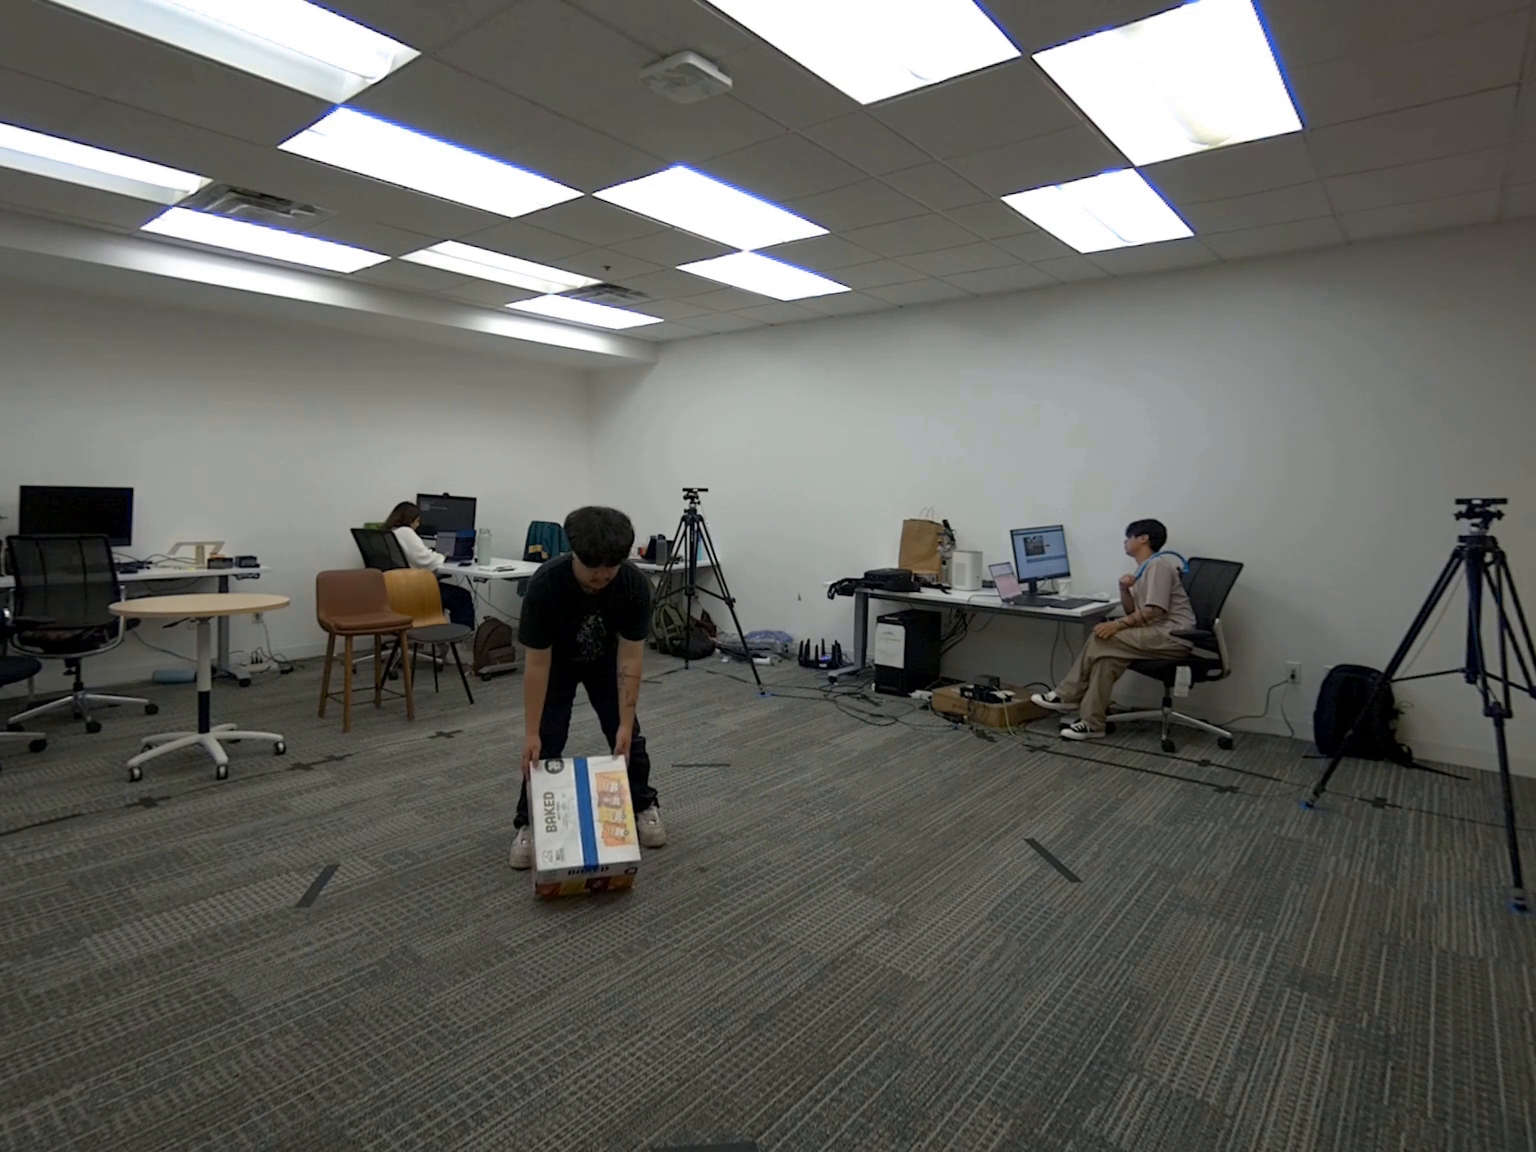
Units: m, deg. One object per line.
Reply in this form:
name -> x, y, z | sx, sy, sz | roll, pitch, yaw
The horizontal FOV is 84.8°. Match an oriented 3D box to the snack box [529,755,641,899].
snack box -> -0.666, 0.868, 2.974 | 0.334, 0.202, 0.420 | 0, 46, -19
